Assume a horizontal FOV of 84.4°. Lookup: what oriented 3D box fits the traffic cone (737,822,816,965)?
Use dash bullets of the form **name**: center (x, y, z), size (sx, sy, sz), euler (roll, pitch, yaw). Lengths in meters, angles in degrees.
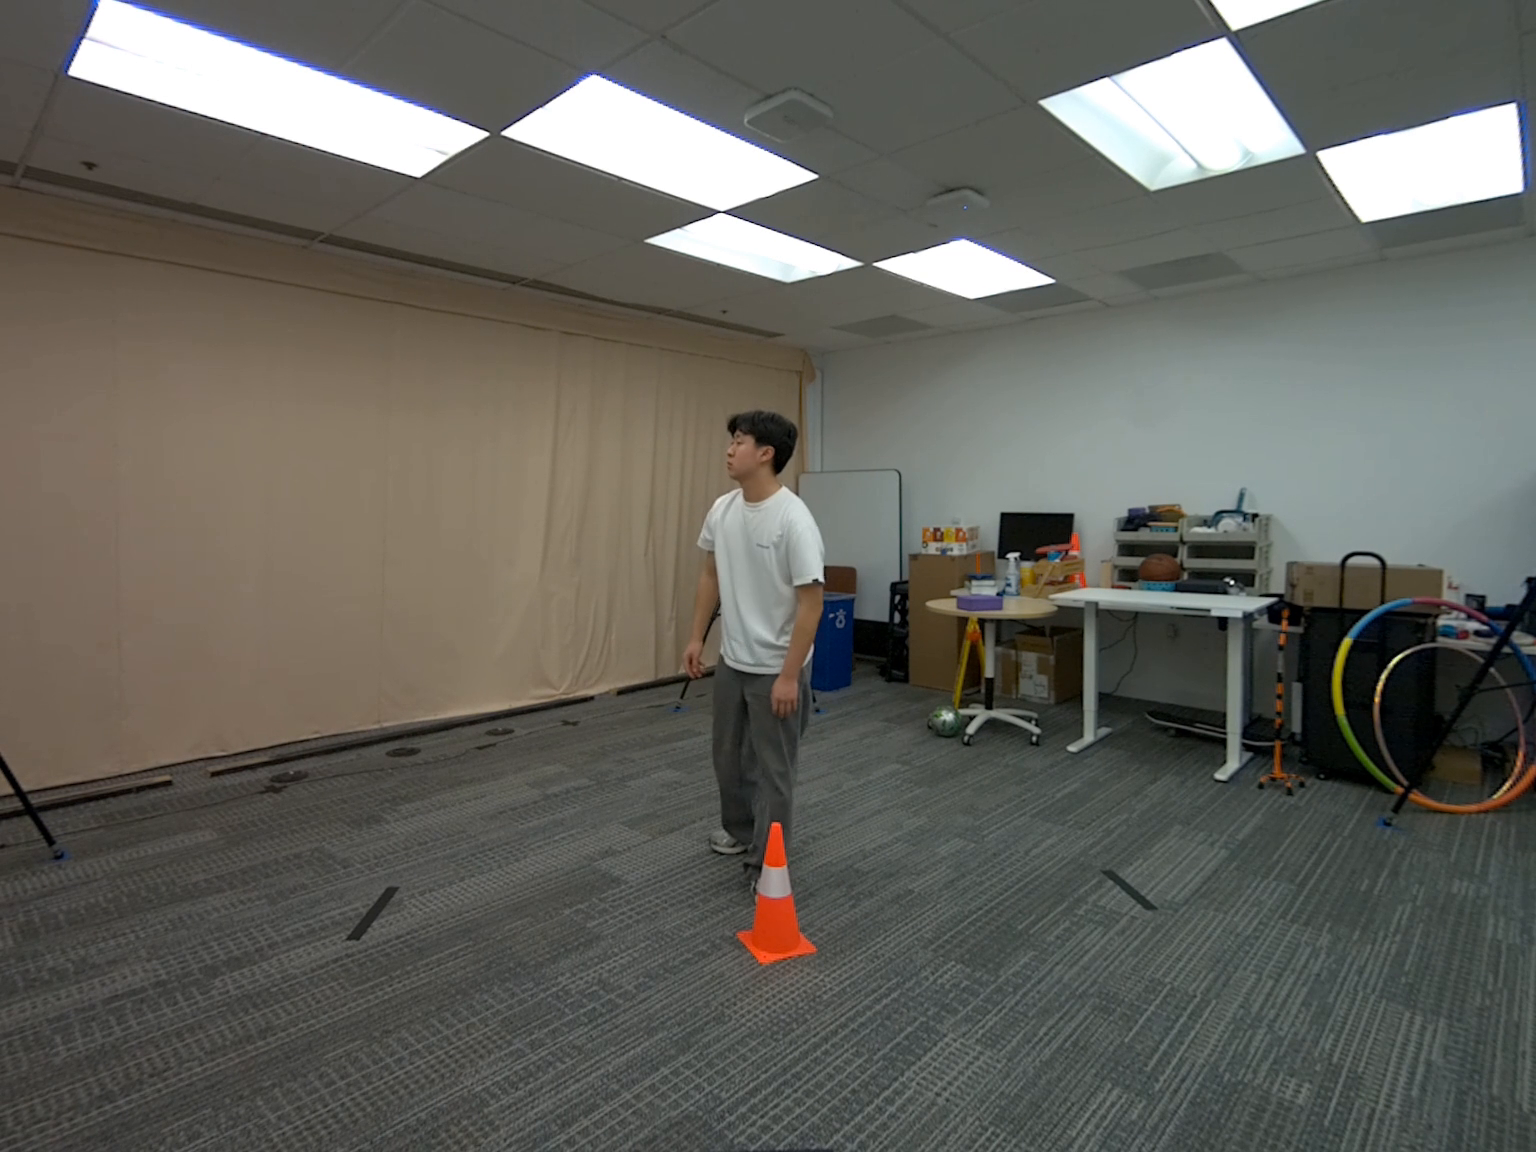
- **traffic cone**: center (0.022, 0.979, 2.687), size (0.198, 0.383, 0.210), euler (-2, 2, -25)
